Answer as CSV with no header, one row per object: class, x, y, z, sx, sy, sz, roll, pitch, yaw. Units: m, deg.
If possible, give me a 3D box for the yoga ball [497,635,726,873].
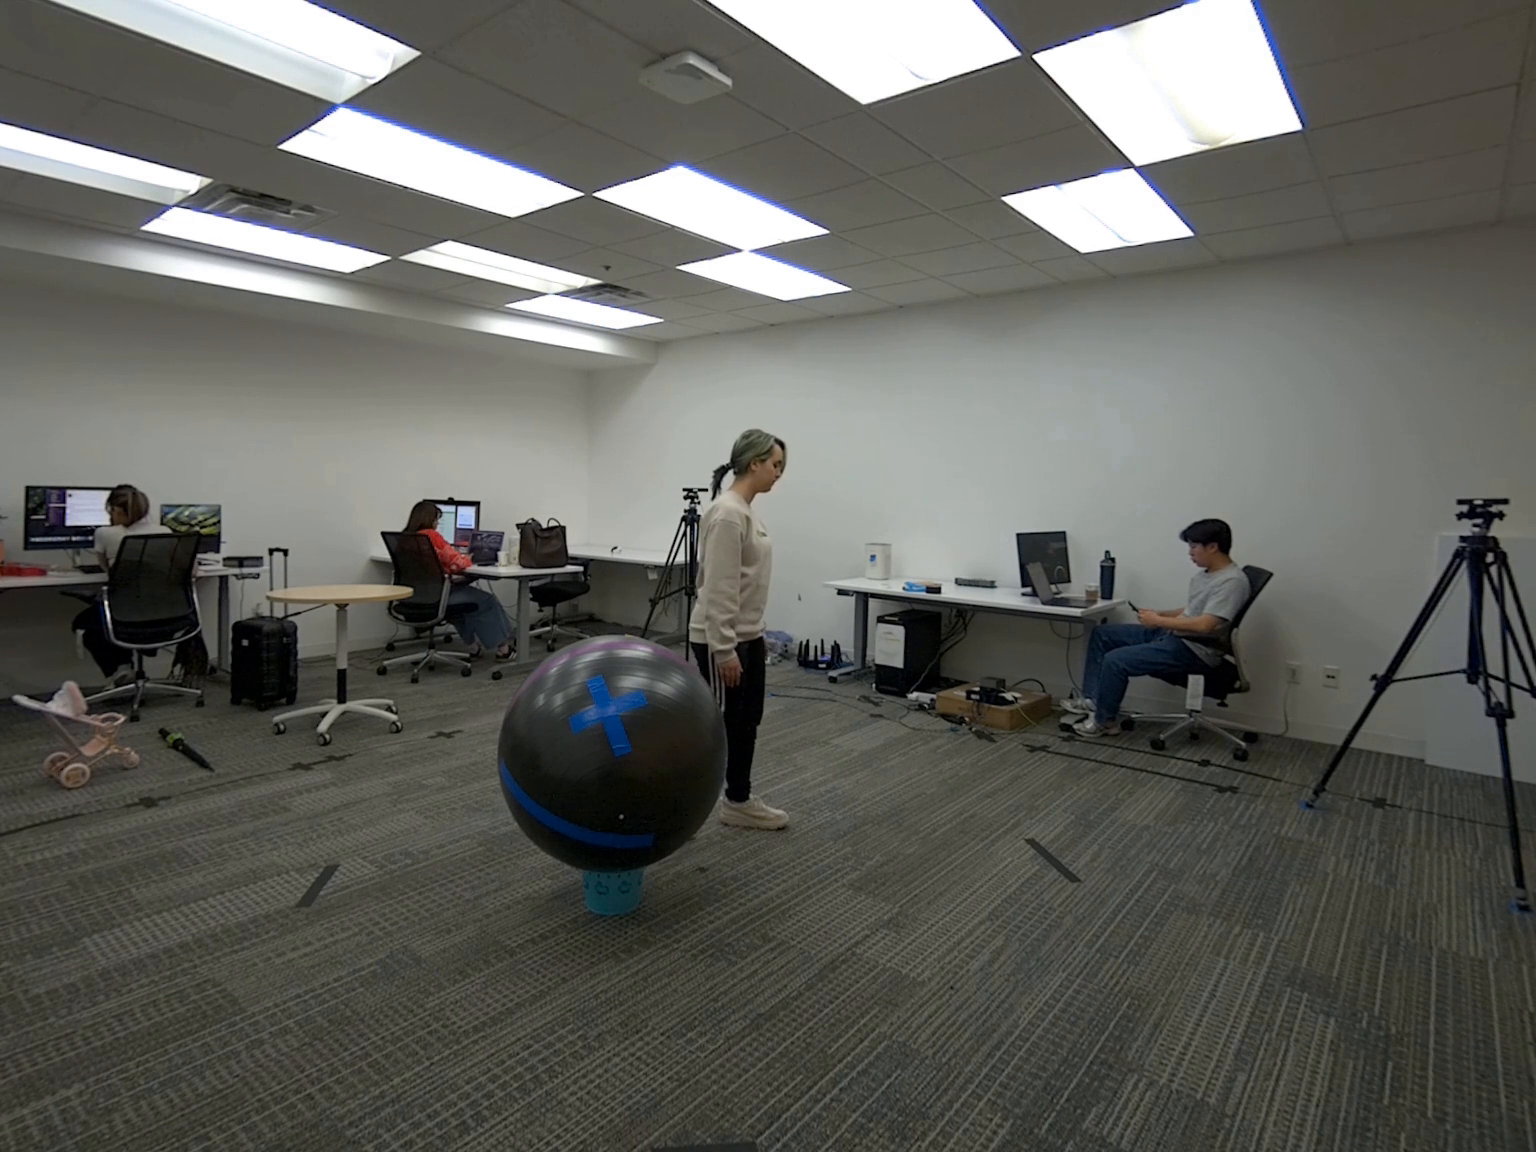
yoga ball,-0.524,0.584,2.826,0.757,0.755,0.762,1,4,-2
